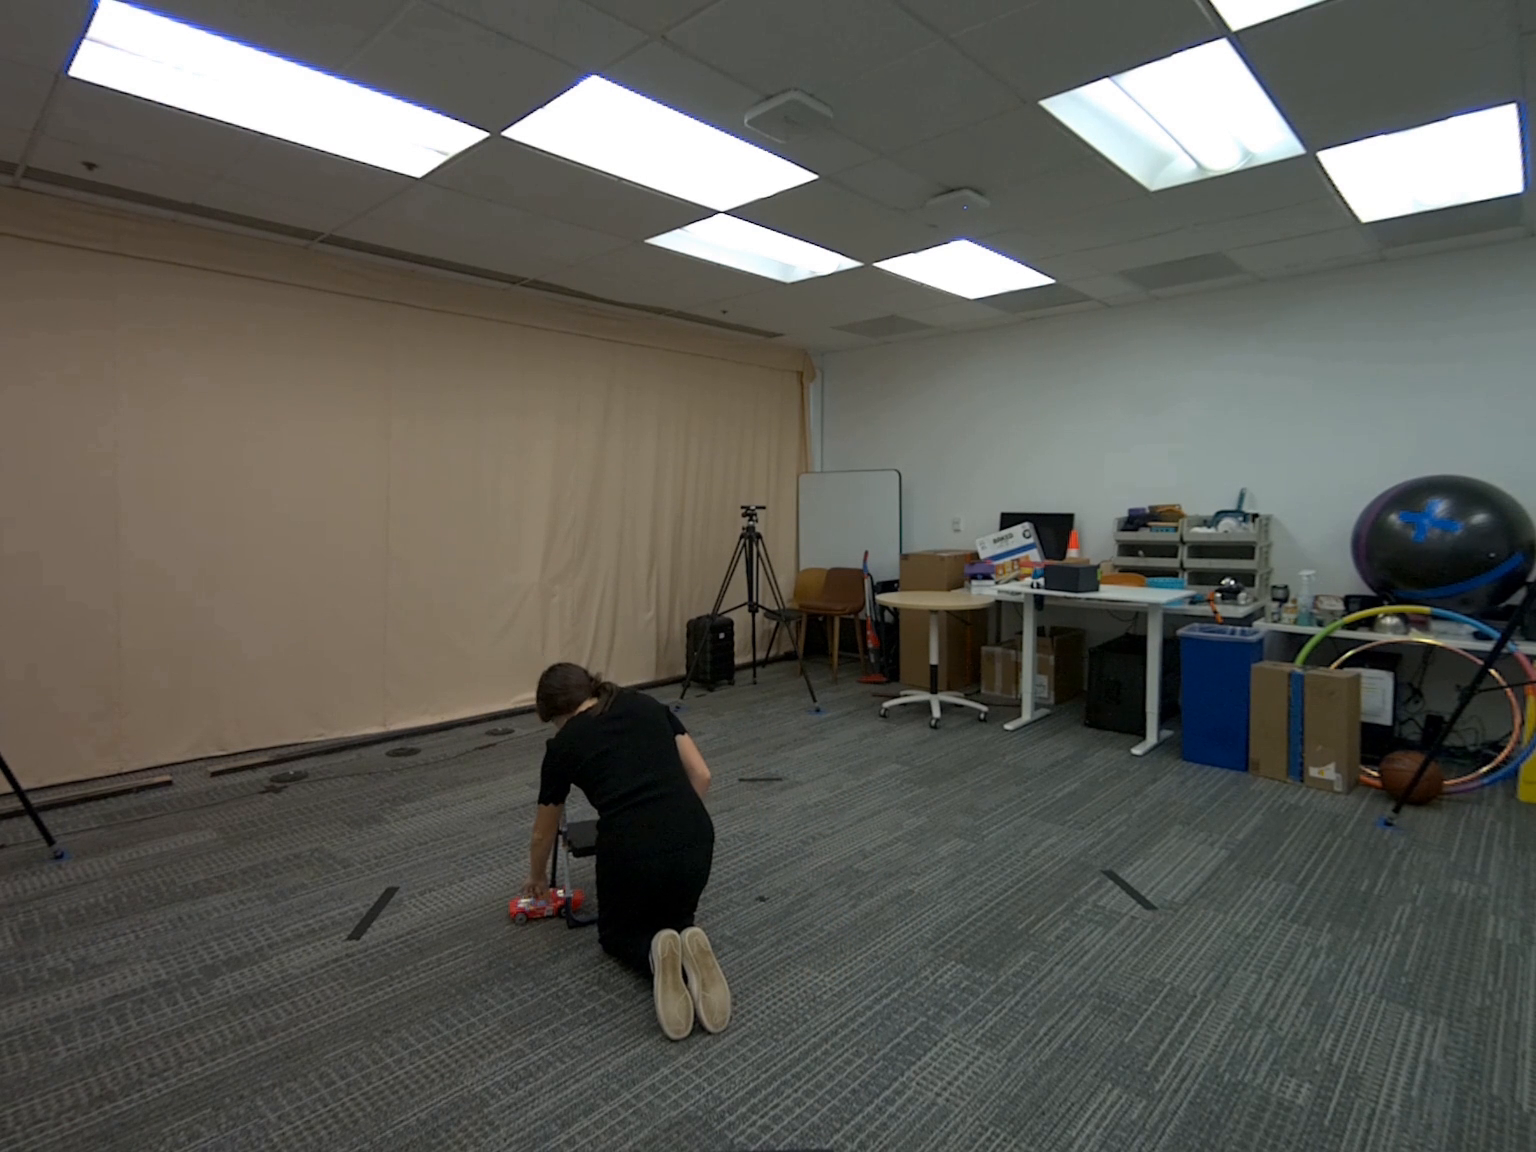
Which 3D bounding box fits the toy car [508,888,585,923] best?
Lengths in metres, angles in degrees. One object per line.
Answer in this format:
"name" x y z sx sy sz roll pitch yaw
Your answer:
"toy car" -0.751 1.124 2.881 0.251 0.082 0.133 -13 10 -15
